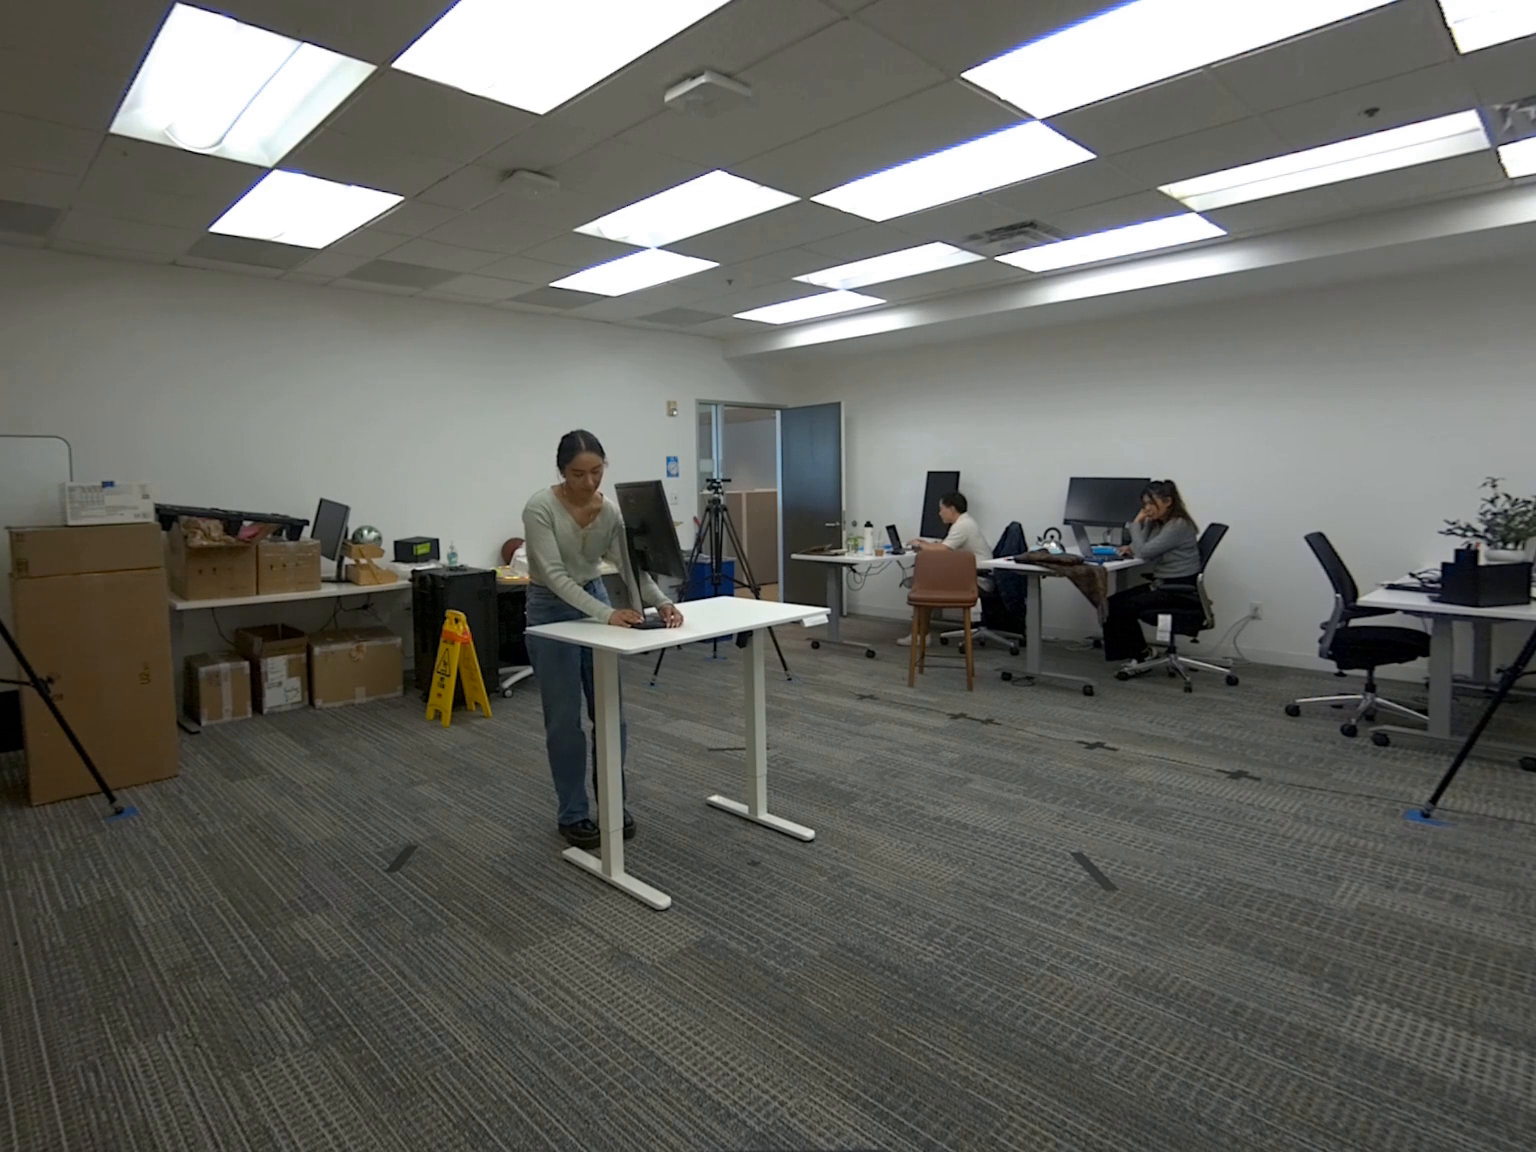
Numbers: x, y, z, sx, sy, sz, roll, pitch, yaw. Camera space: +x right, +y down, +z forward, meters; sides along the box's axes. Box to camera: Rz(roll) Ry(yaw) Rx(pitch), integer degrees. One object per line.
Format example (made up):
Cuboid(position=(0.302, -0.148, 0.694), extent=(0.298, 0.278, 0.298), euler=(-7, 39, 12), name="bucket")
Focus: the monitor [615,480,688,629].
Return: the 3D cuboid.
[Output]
Cuboid(position=(-0.446, -0.085, 3.082), extent=(0.171, 0.515, 0.543), euler=(0, 2, -26), name="monitor")
